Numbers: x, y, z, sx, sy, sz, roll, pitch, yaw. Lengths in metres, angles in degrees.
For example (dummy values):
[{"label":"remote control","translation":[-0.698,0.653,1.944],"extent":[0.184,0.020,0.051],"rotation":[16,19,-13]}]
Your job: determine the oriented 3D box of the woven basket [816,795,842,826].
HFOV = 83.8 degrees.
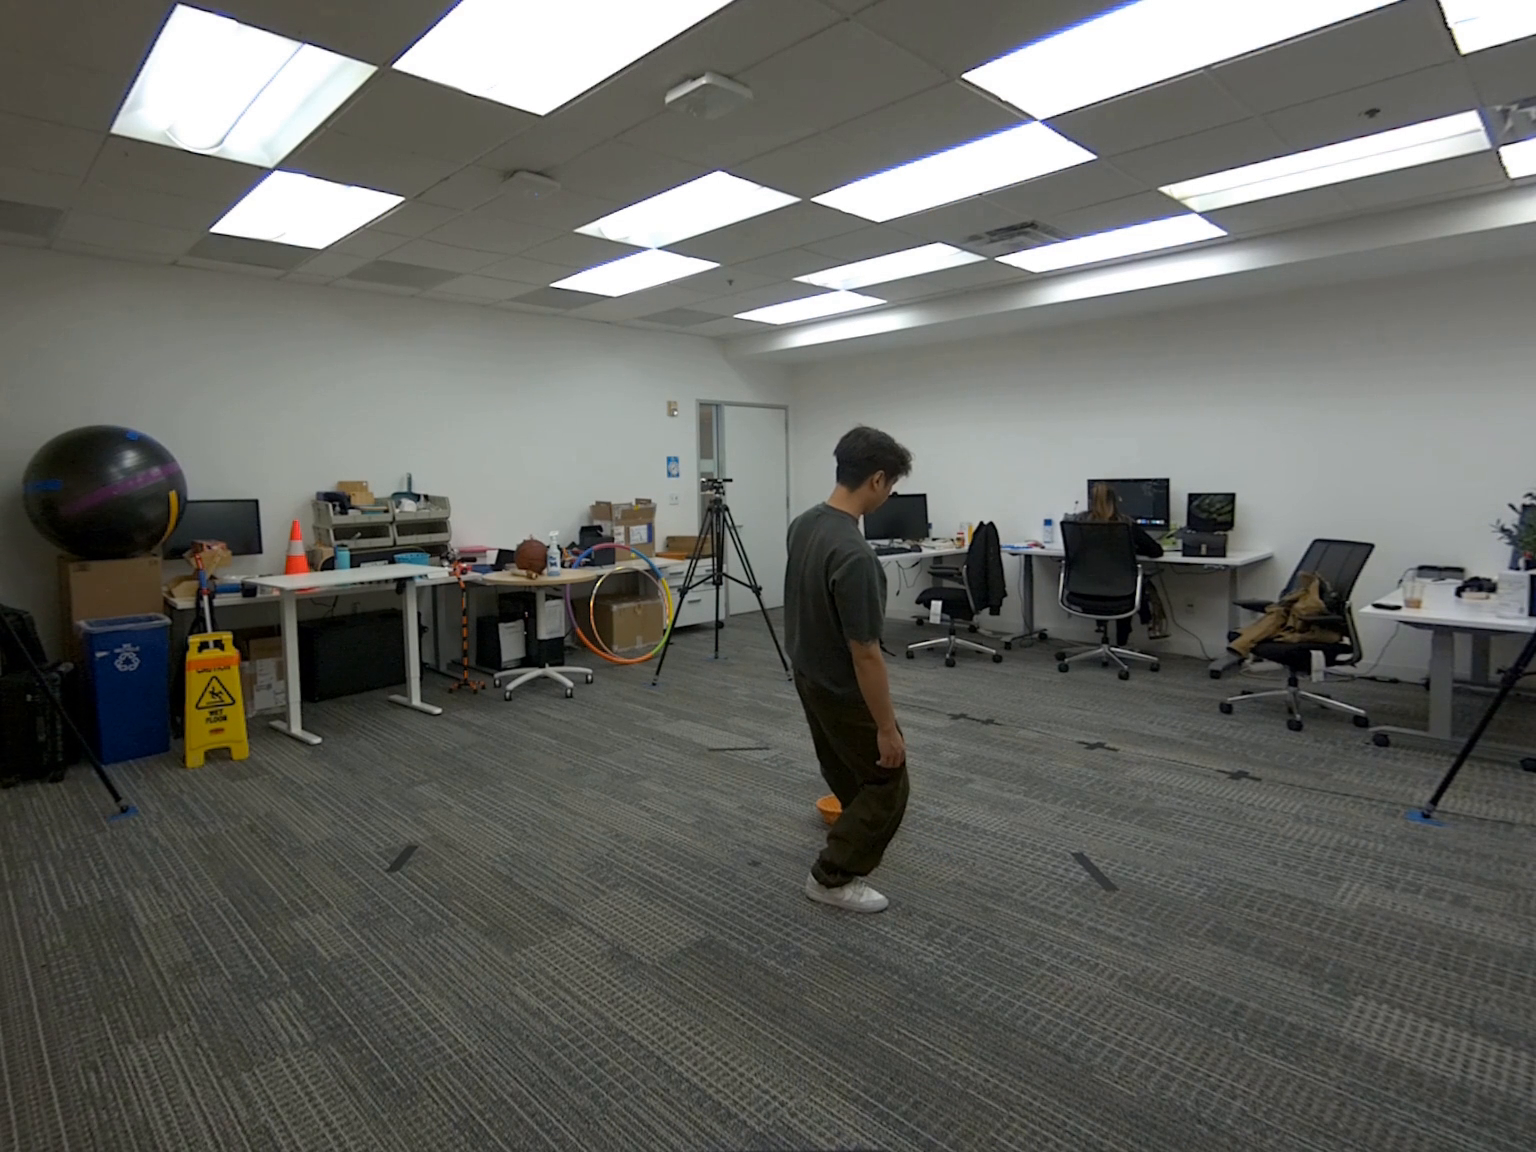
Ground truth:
[{"label":"woven basket","translation":[0.363,0.948,3.492],"extent":[0.342,0.073,0.258],"rotation":[-5,2,-31]}]
